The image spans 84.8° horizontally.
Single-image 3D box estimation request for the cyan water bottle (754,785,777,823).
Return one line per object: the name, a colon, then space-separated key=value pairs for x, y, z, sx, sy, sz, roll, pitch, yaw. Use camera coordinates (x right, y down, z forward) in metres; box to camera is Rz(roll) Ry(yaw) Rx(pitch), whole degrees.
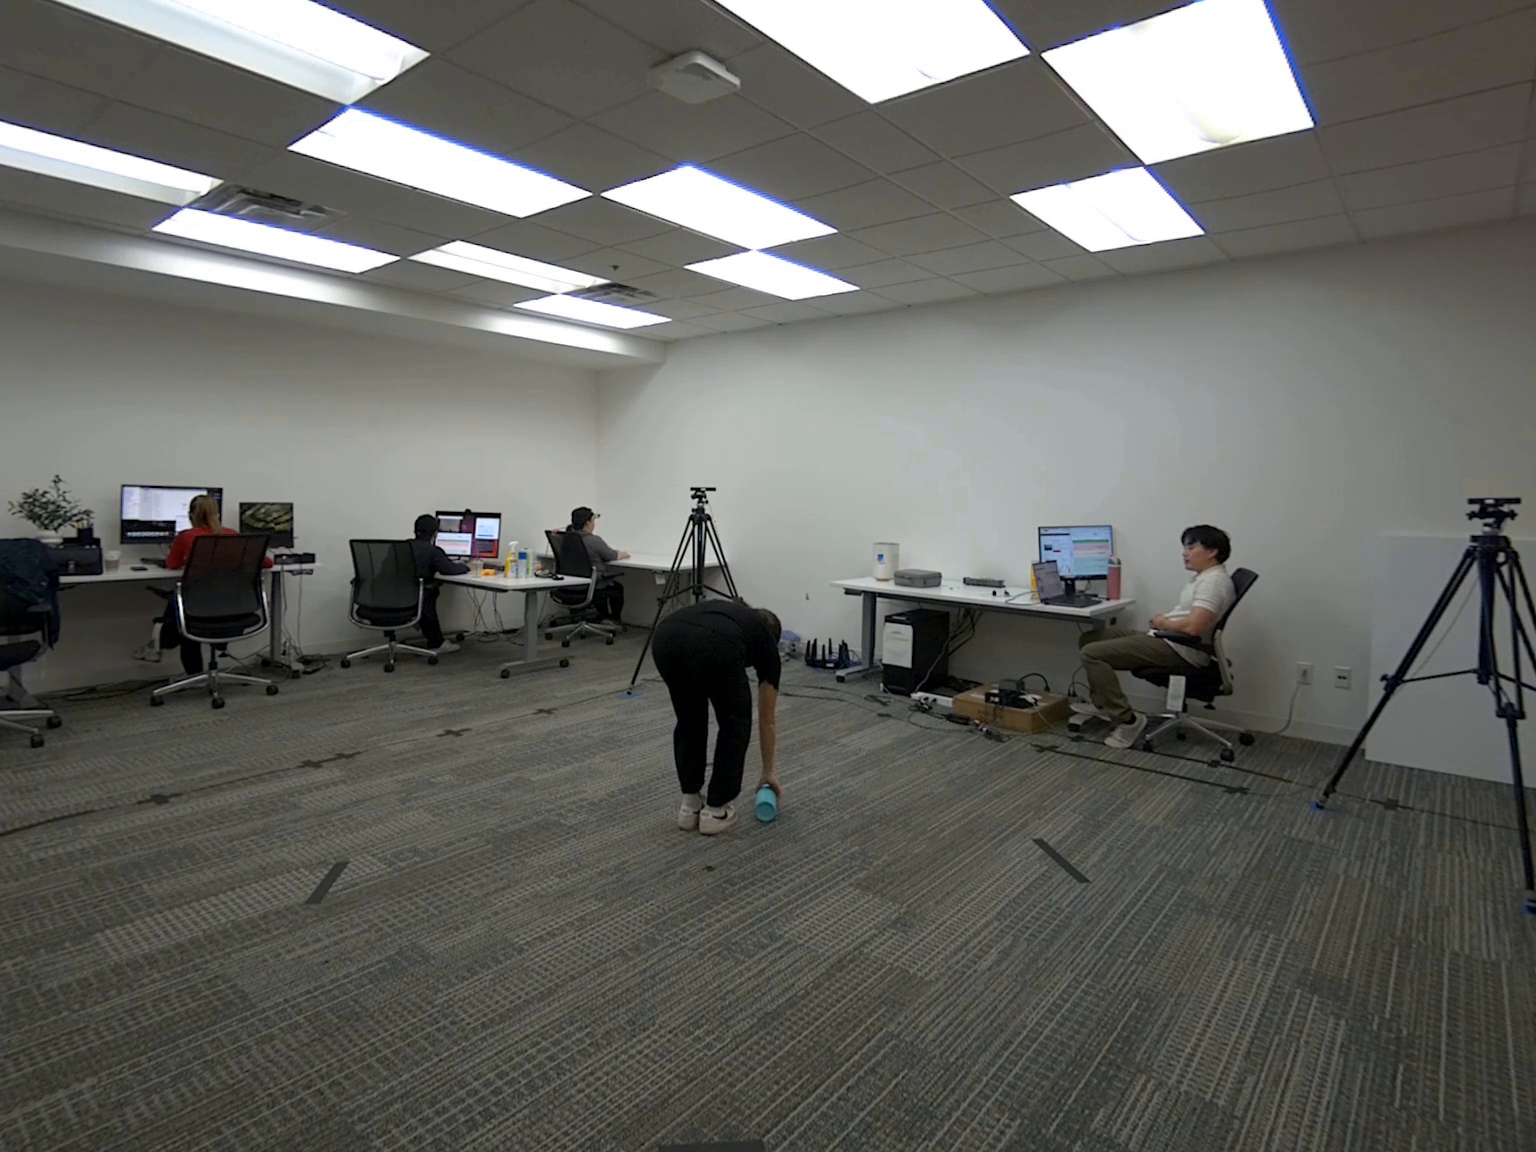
cyan water bottle: x=-0.020 y=0.968 z=3.695 sx=0.092 sy=0.092 sz=0.283 roll=1 pitch=5 yaw=1
